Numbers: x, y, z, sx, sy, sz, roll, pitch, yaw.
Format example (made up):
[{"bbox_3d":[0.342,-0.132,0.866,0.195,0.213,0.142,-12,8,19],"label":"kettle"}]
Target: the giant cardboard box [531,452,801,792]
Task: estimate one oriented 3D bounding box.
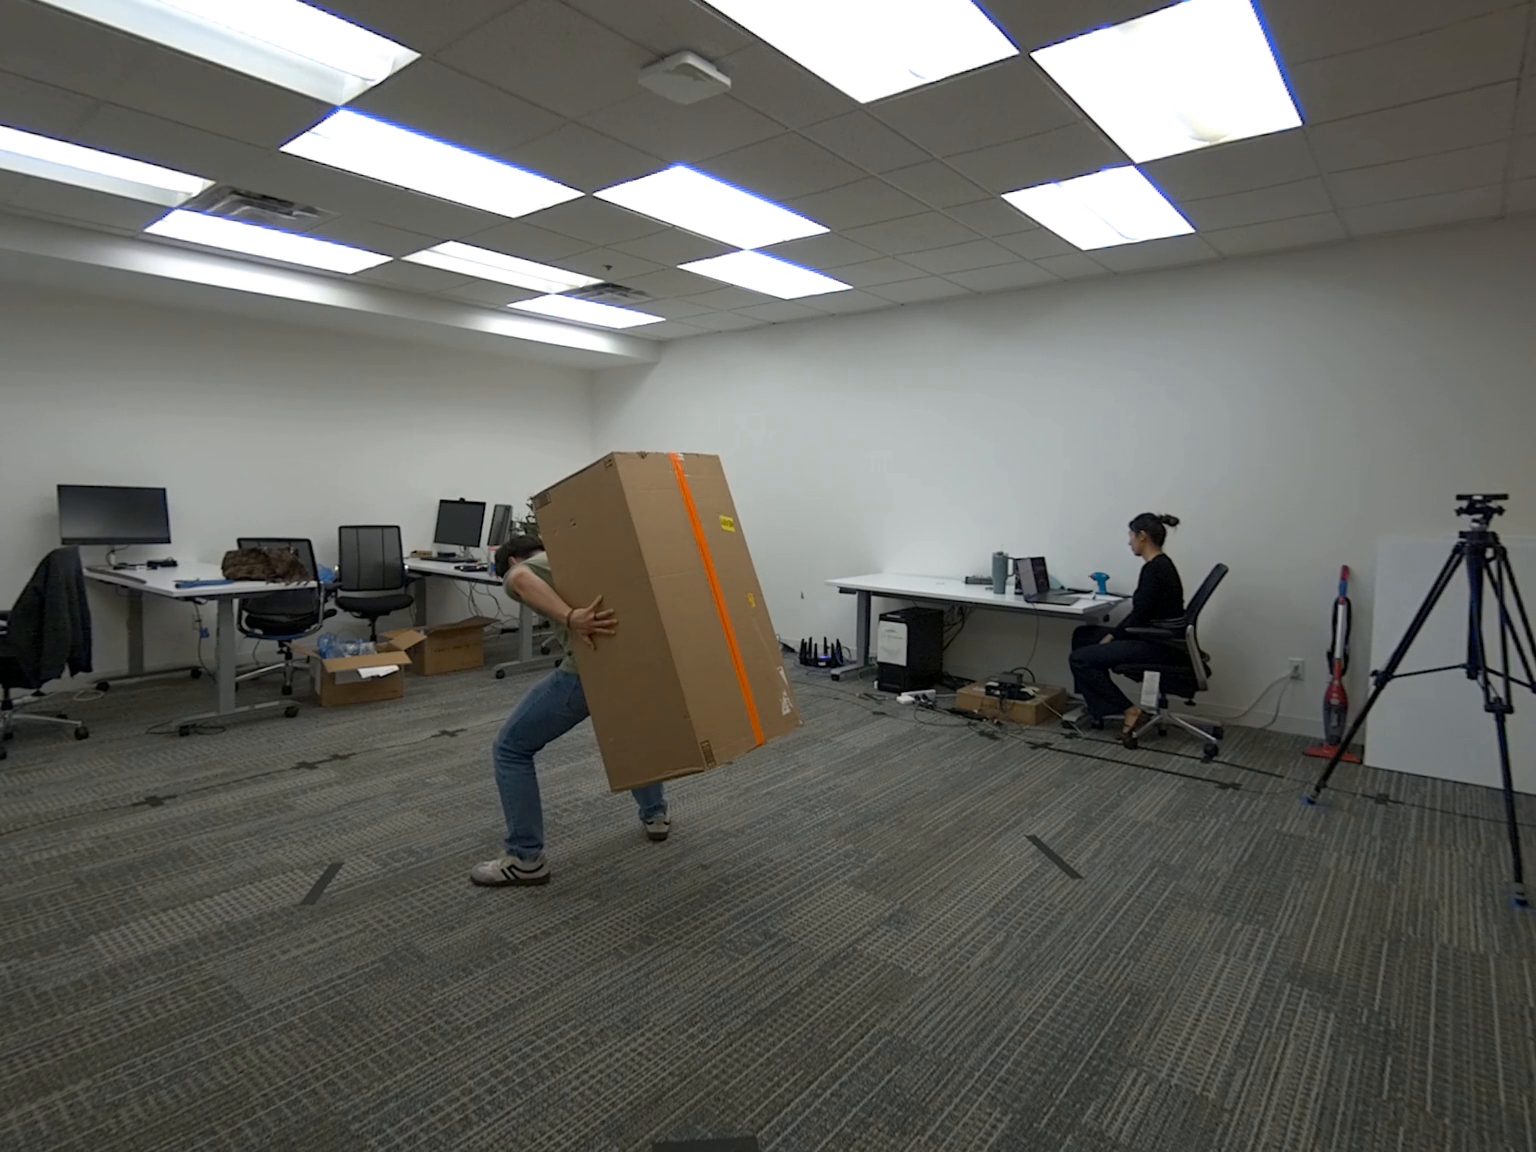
[{"bbox_3d":[-0.351,0.130,2.937,0.433,1.037,0.562,-23,-10,35],"label":"giant cardboard box"}]
